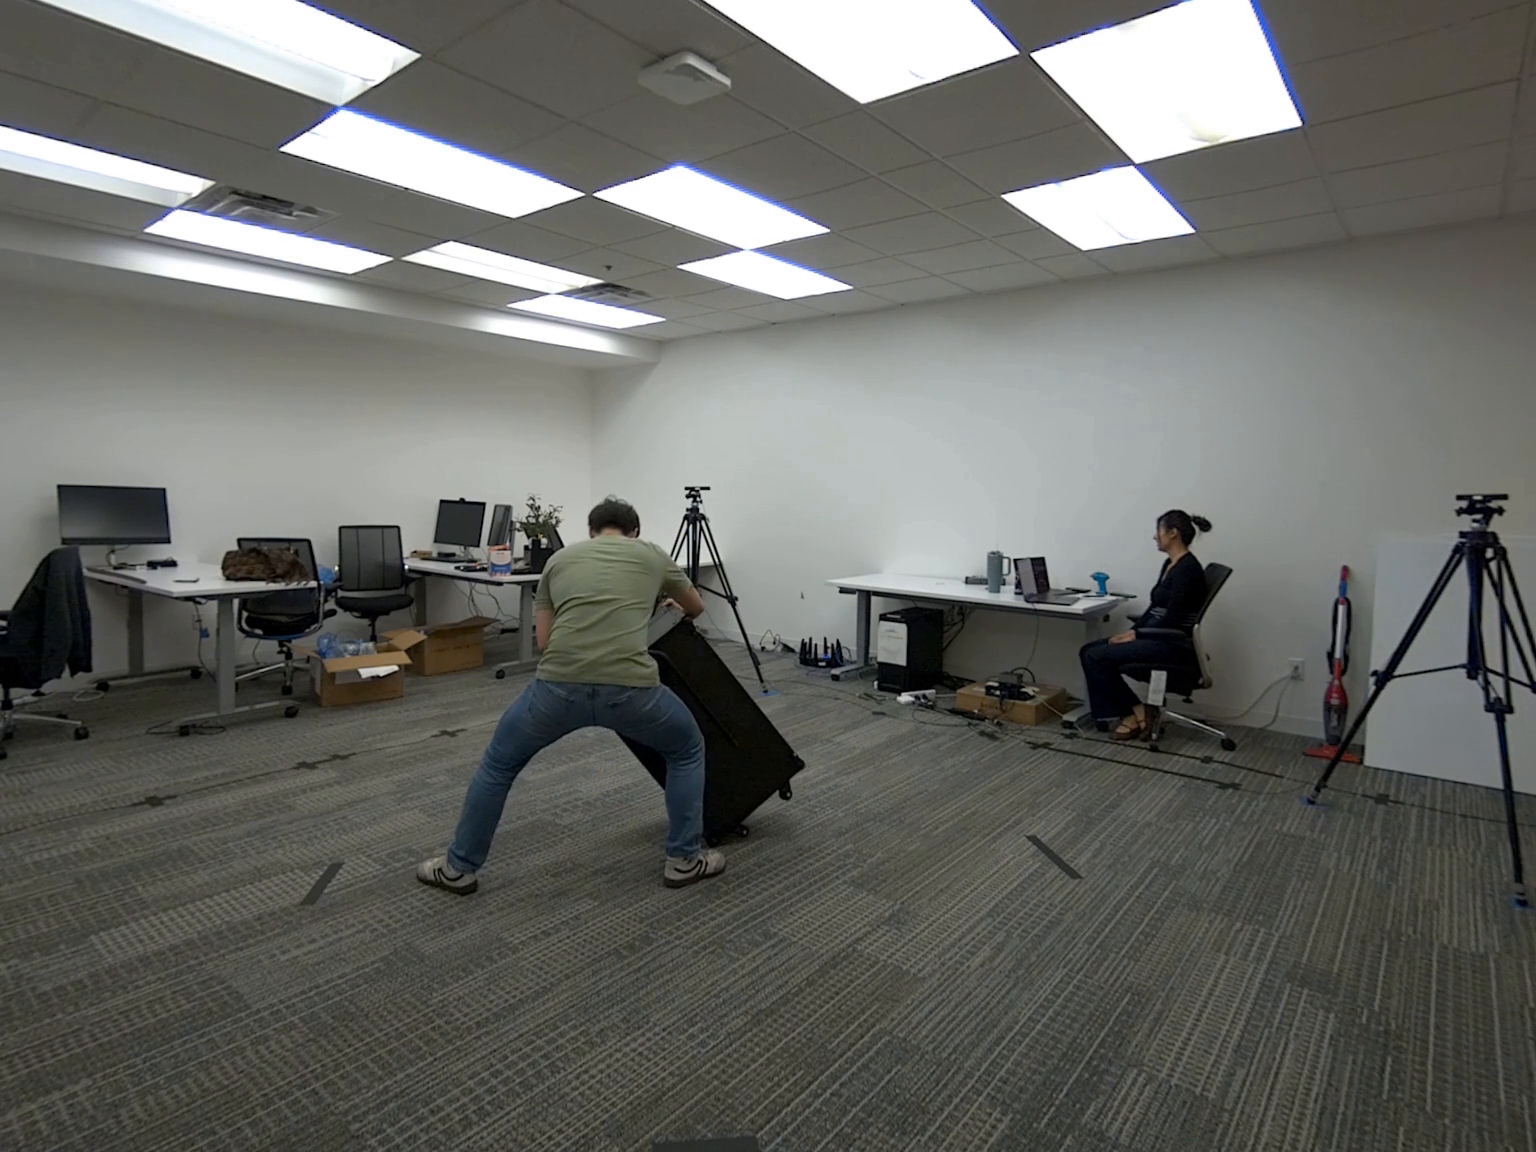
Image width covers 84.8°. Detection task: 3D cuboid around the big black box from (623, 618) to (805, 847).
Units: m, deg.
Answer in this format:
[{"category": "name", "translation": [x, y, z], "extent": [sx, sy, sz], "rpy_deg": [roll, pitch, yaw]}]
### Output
[{"category": "big black box", "translation": [-0.292, 0.605, 3.411], "extent": [0.520, 0.847, 0.404], "rpy_deg": [-39, 12, -9]}]
